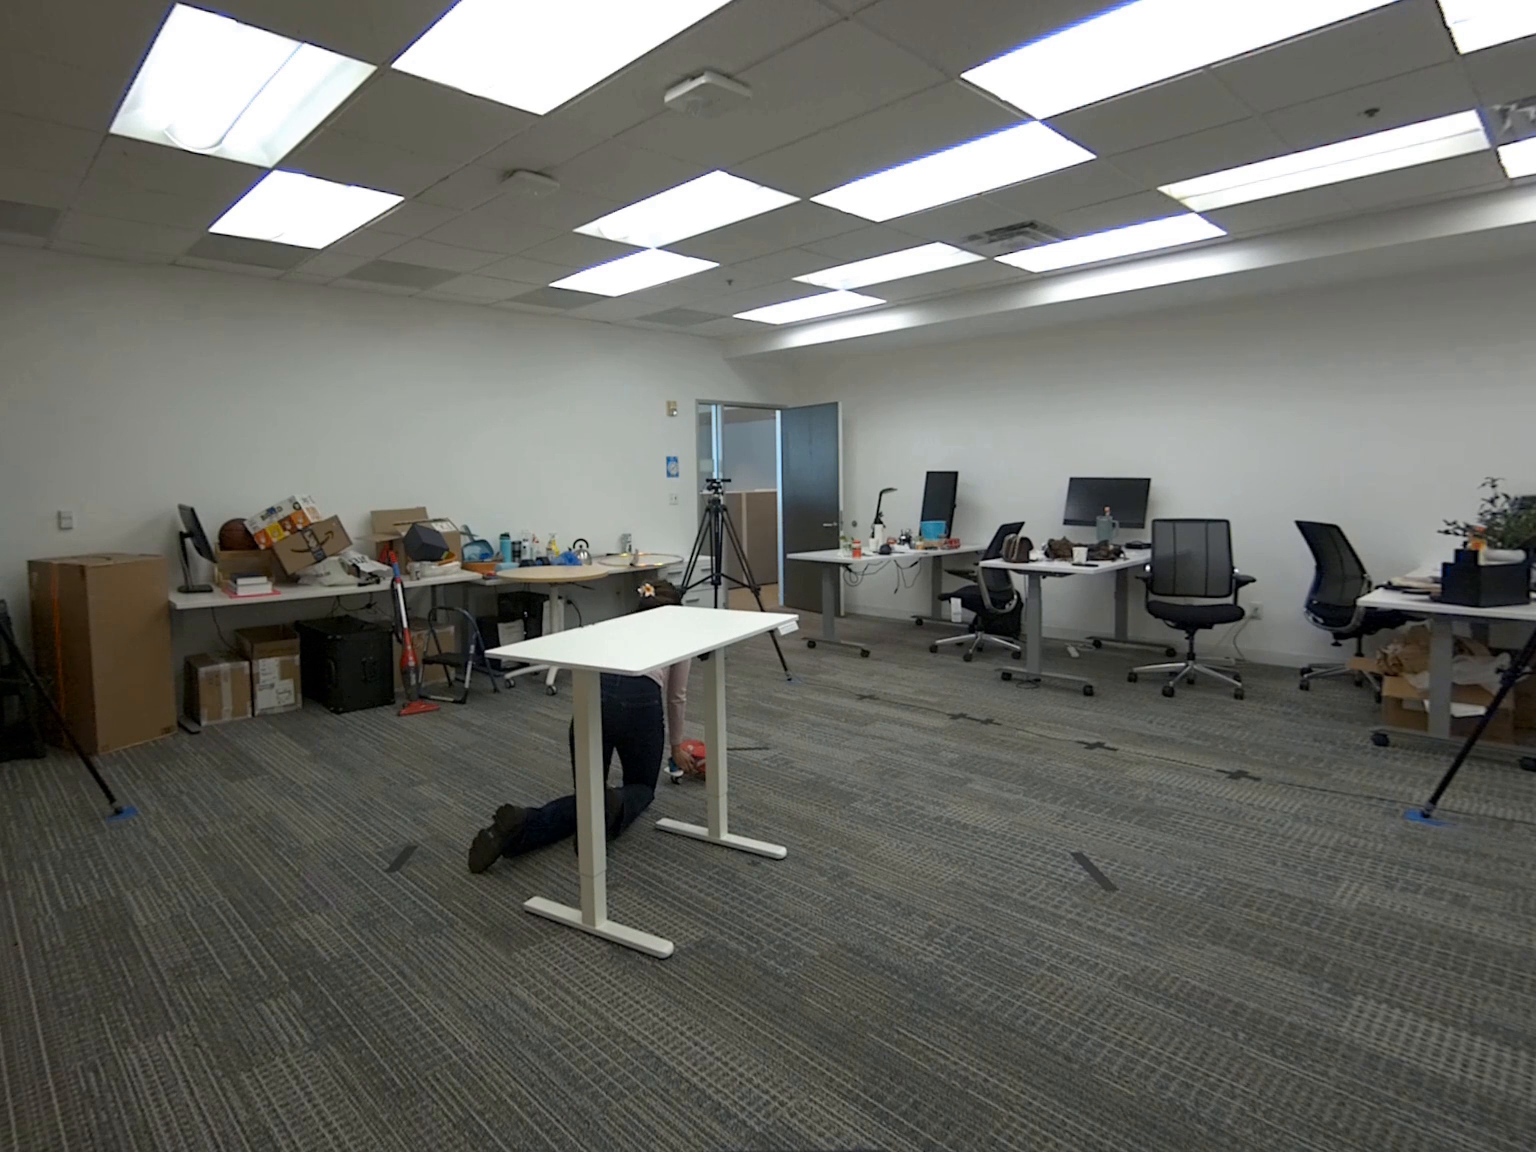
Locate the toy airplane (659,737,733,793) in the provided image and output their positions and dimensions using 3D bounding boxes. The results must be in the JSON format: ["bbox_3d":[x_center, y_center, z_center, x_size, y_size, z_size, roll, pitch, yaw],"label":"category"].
[{"bbox_3d":[-0.337,0.873,3.994,0.257,0.156,0.254,0,5,24],"label":"toy airplane"}]
